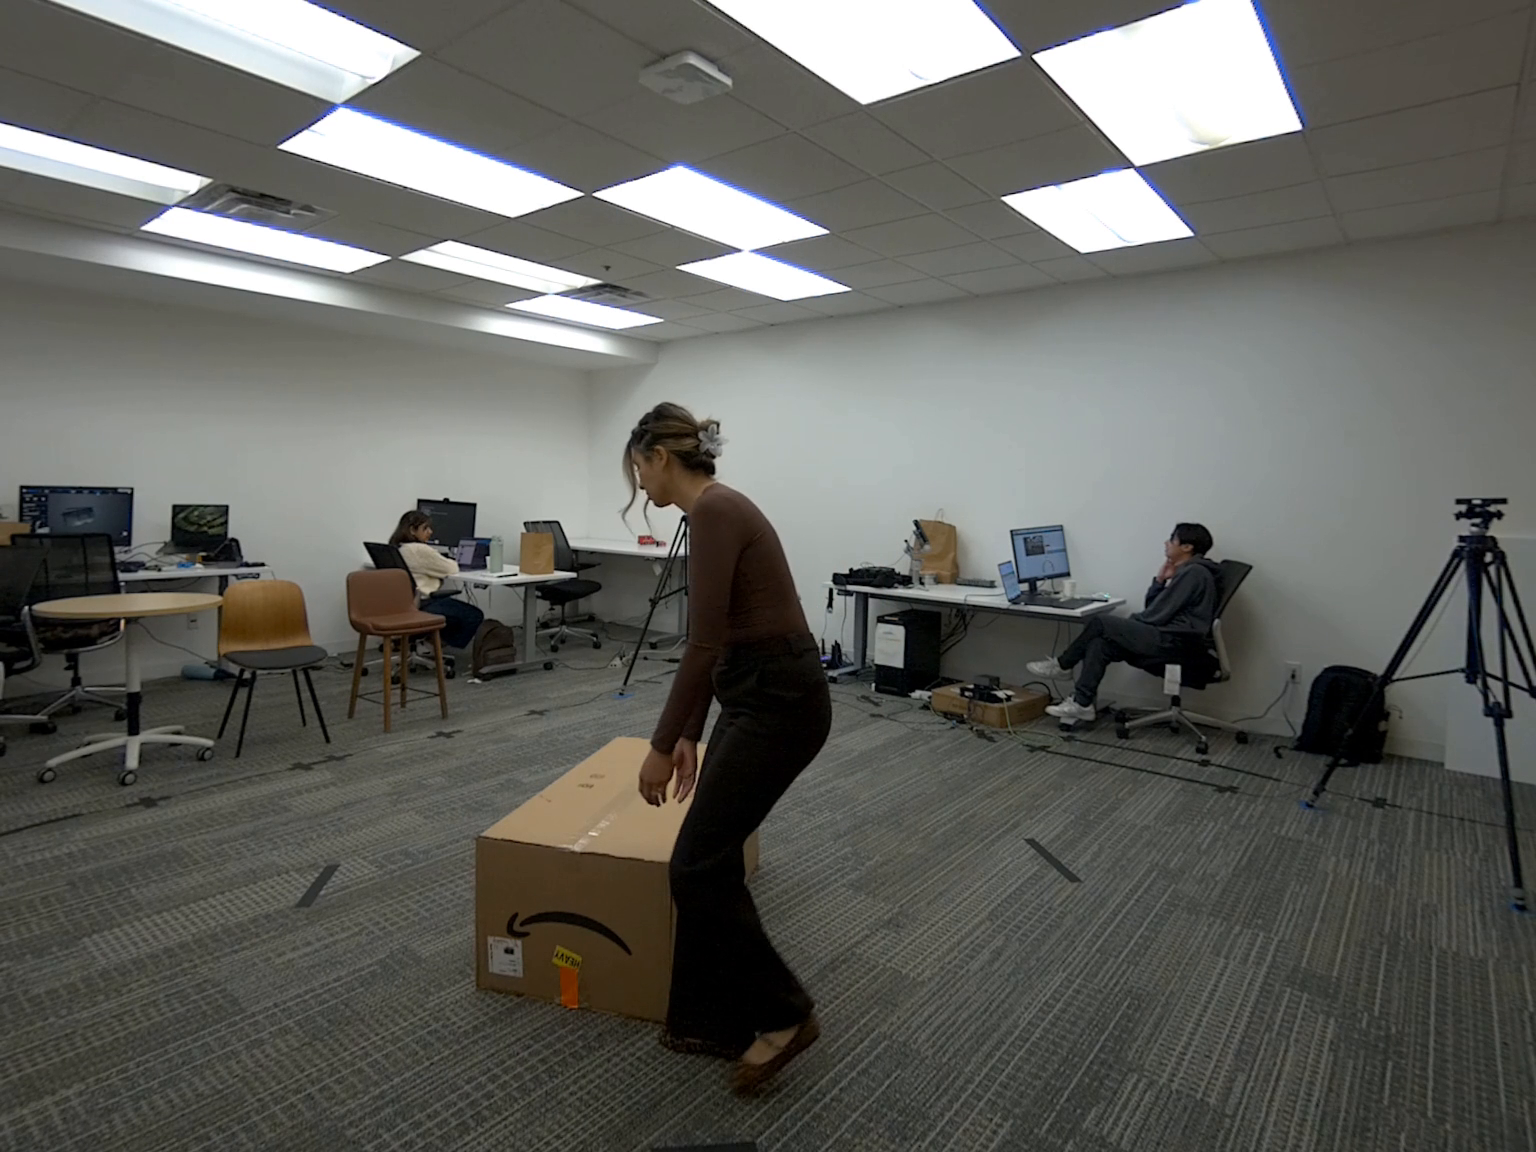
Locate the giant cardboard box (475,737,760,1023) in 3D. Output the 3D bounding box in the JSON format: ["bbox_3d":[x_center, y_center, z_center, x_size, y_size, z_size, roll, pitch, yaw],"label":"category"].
[{"bbox_3d":[-0.428,0.887,2.746,0.593,0.445,1.015,3,6,13],"label":"giant cardboard box"}]
